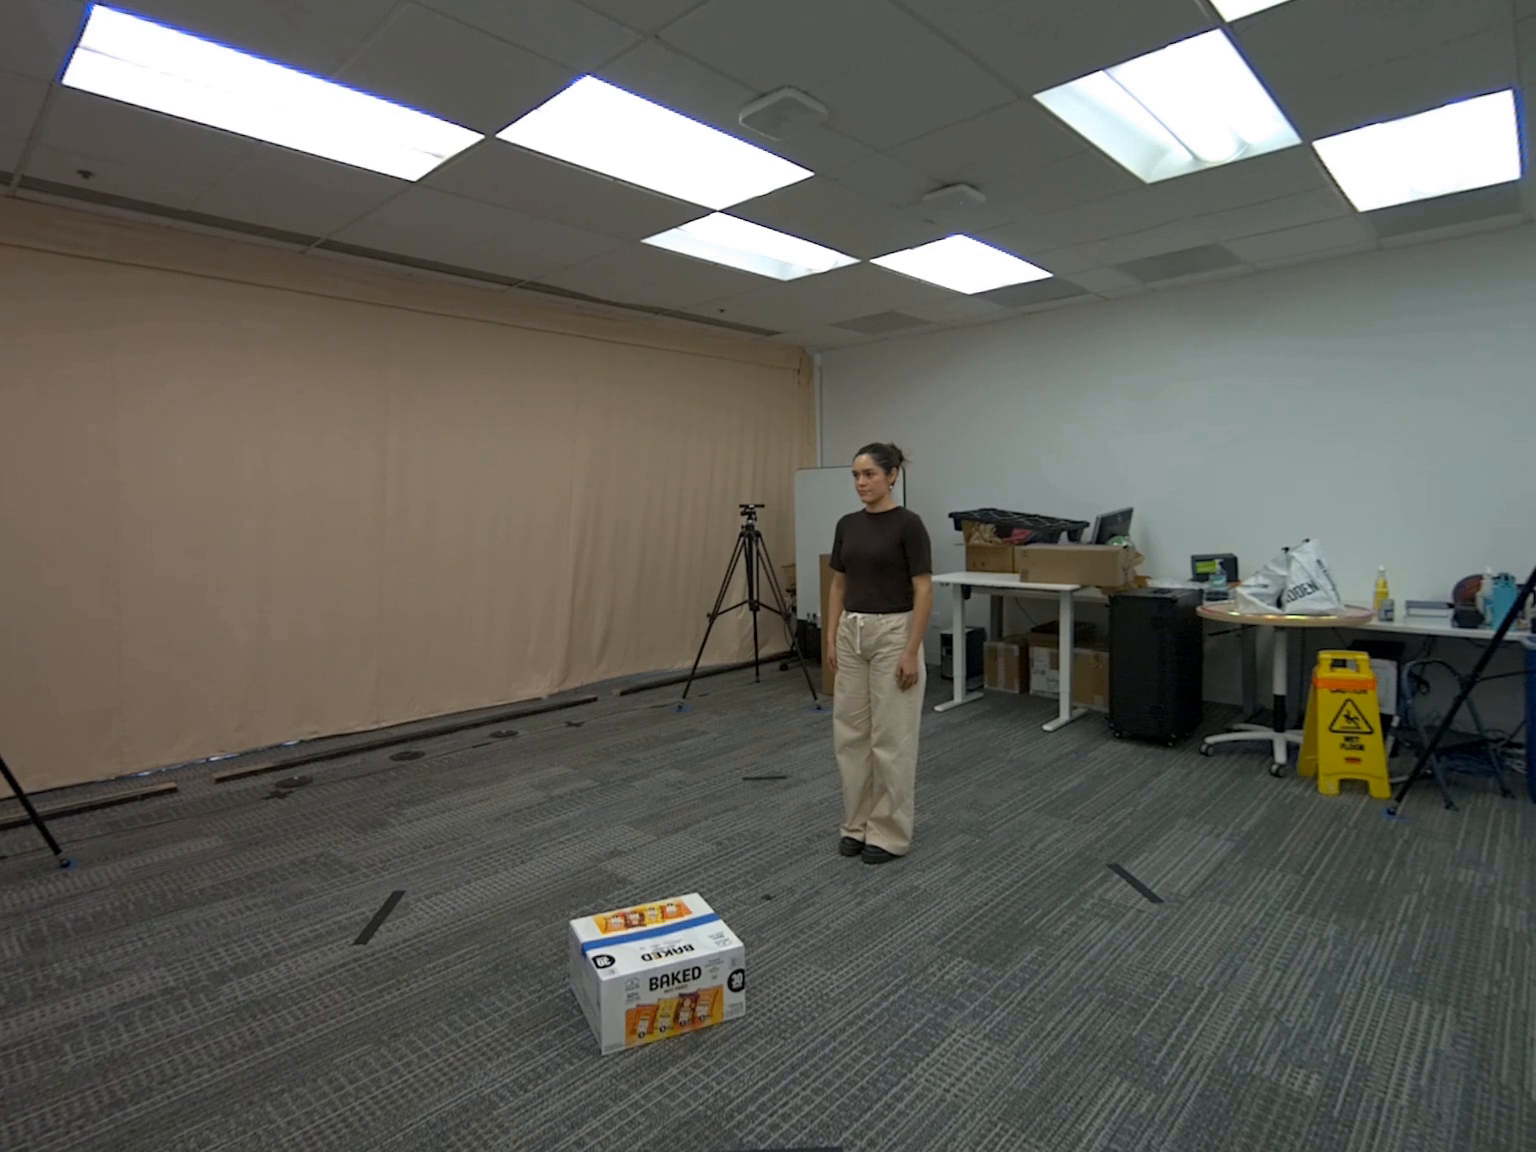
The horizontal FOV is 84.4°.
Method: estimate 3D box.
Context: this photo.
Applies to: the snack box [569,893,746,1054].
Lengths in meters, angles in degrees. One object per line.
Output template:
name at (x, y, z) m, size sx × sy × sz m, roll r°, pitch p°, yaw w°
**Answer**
snack box at (-0.314, 1.100, 2.353) m, size 0.396 × 0.205 × 0.349 m, roll -3°, pitch 5°, yaw -25°
